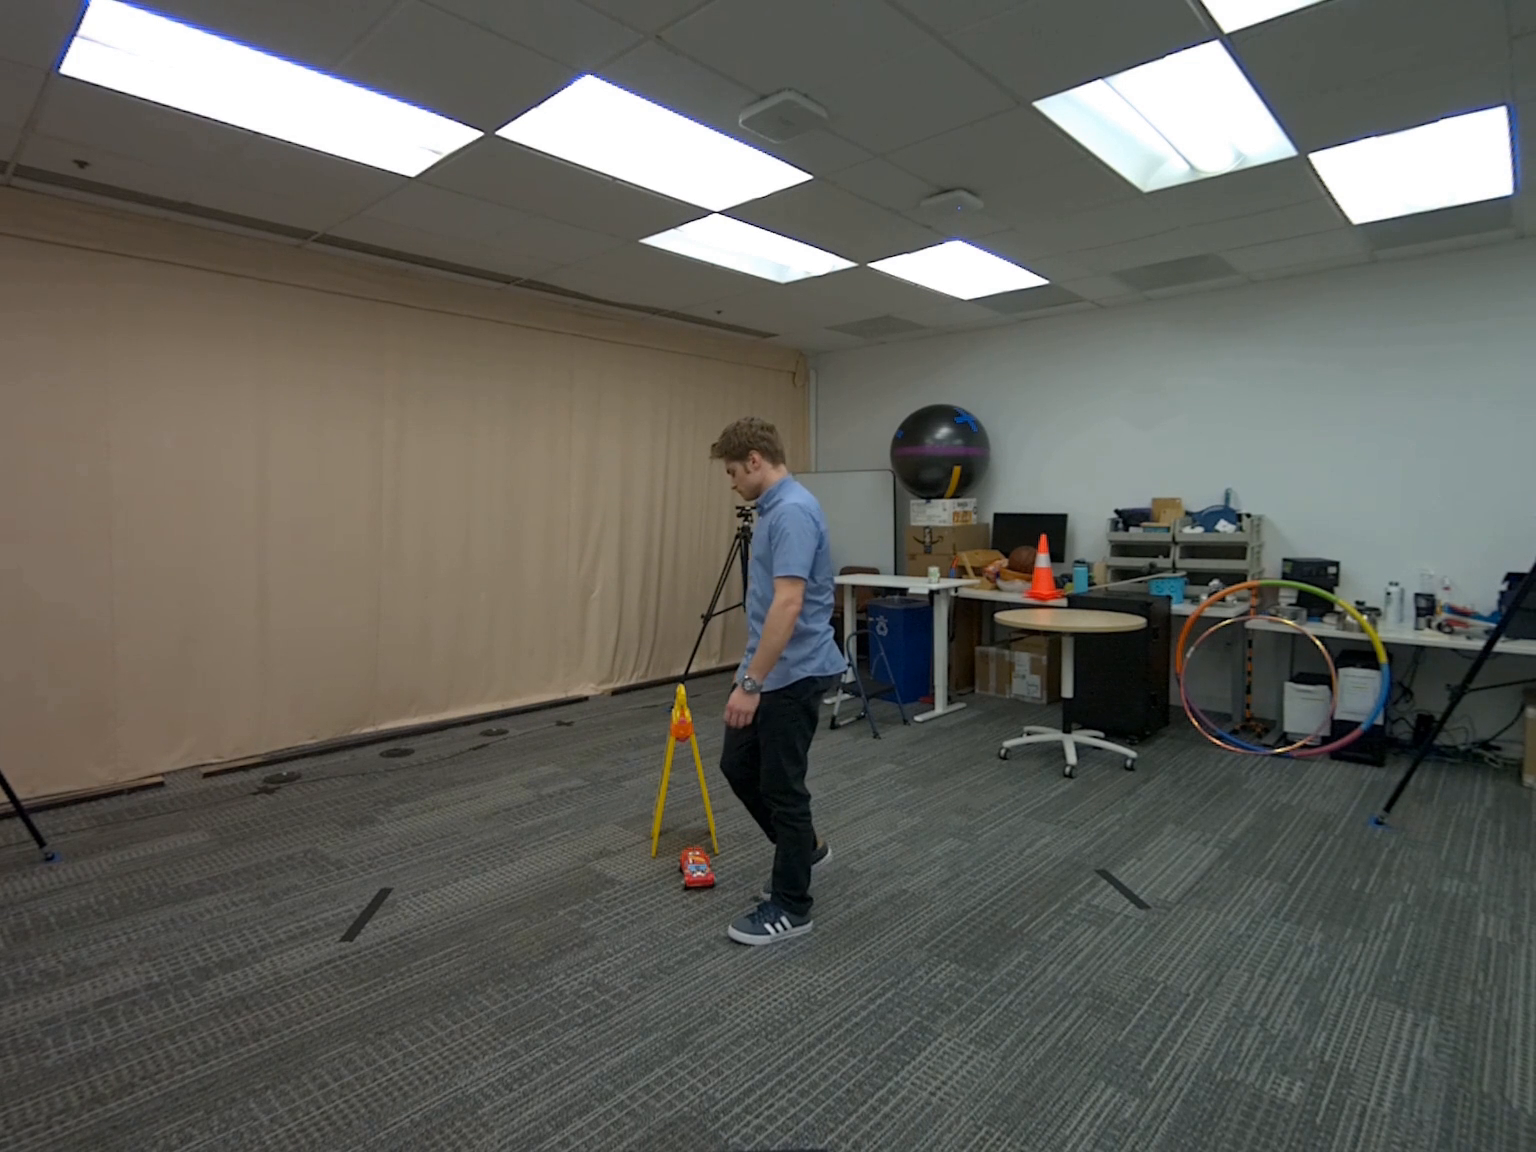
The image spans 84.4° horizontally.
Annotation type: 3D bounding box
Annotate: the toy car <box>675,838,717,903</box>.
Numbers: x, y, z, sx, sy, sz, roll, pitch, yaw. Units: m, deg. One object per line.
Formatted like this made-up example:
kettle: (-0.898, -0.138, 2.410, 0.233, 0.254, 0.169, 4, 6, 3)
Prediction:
toy car: (-0.275, 1.094, 3.164, 0.129, 0.082, 0.259, -1, 16, -9)
